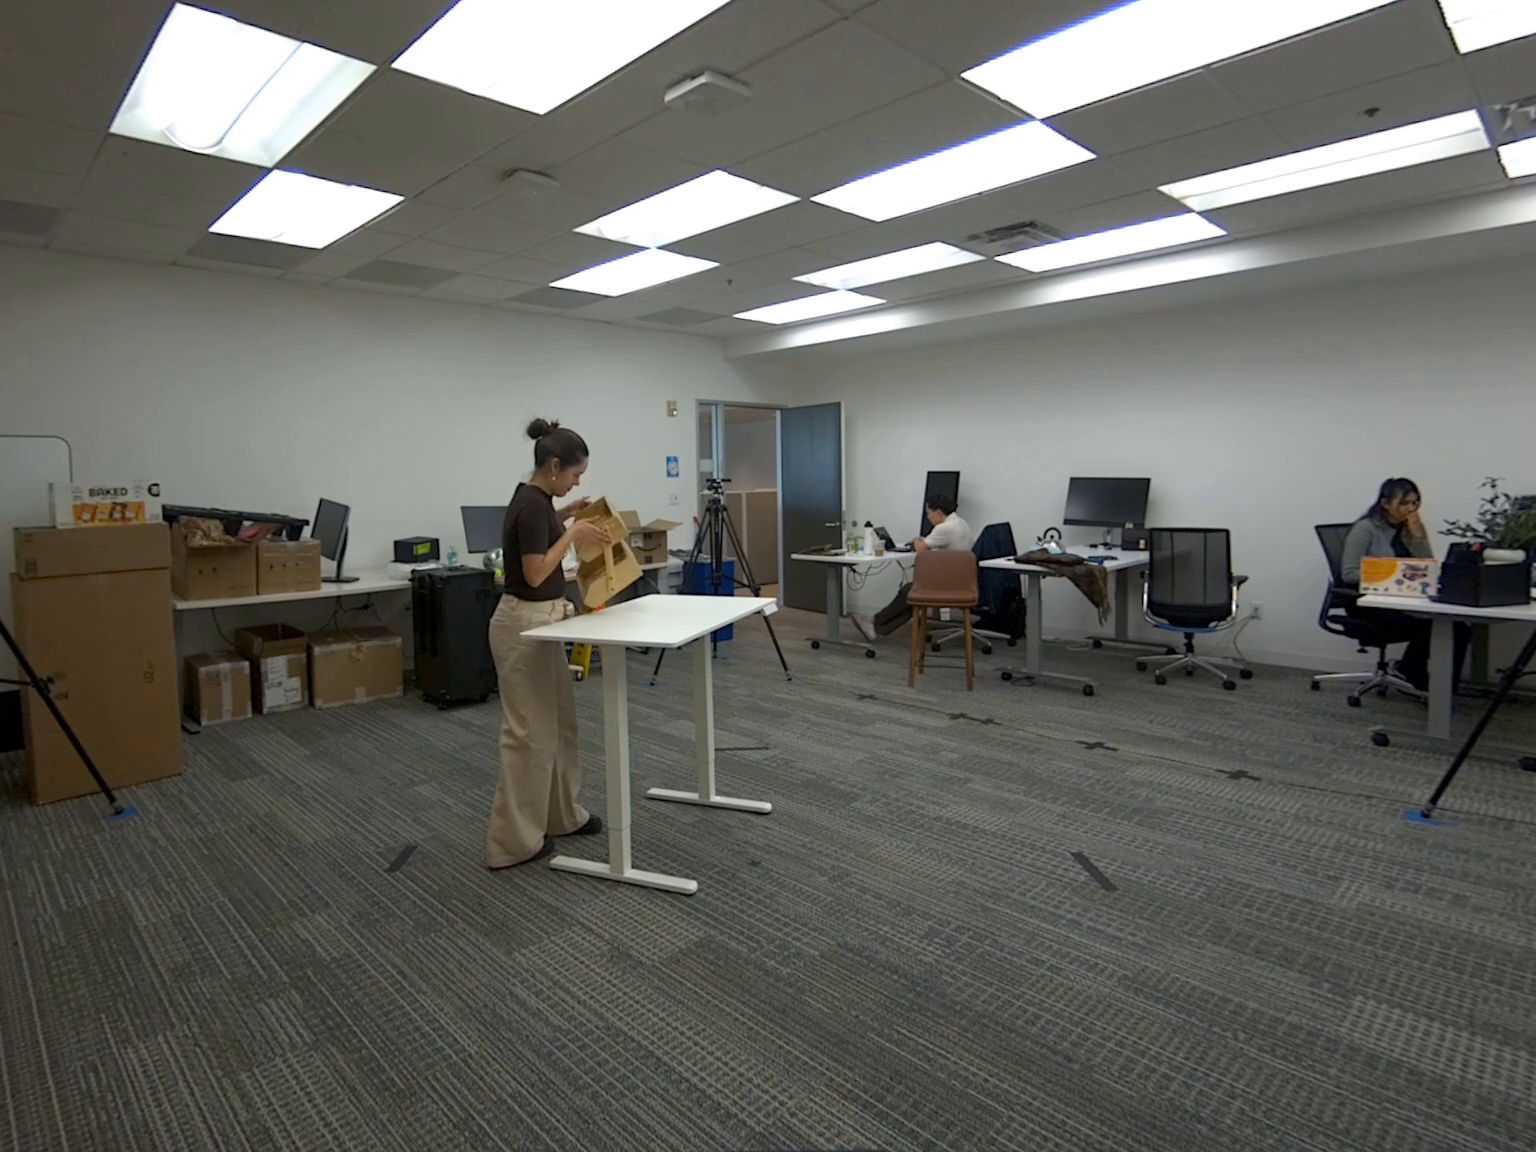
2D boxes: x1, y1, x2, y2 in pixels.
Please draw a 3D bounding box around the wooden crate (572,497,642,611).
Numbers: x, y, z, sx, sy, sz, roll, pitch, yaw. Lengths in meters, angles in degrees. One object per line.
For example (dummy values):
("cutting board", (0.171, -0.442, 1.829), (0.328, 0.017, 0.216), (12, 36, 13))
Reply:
("wooden crate", (-0.686, -0.093, 3.382), (0.301, 0.265, 0.334), (-35, 25, -5))
